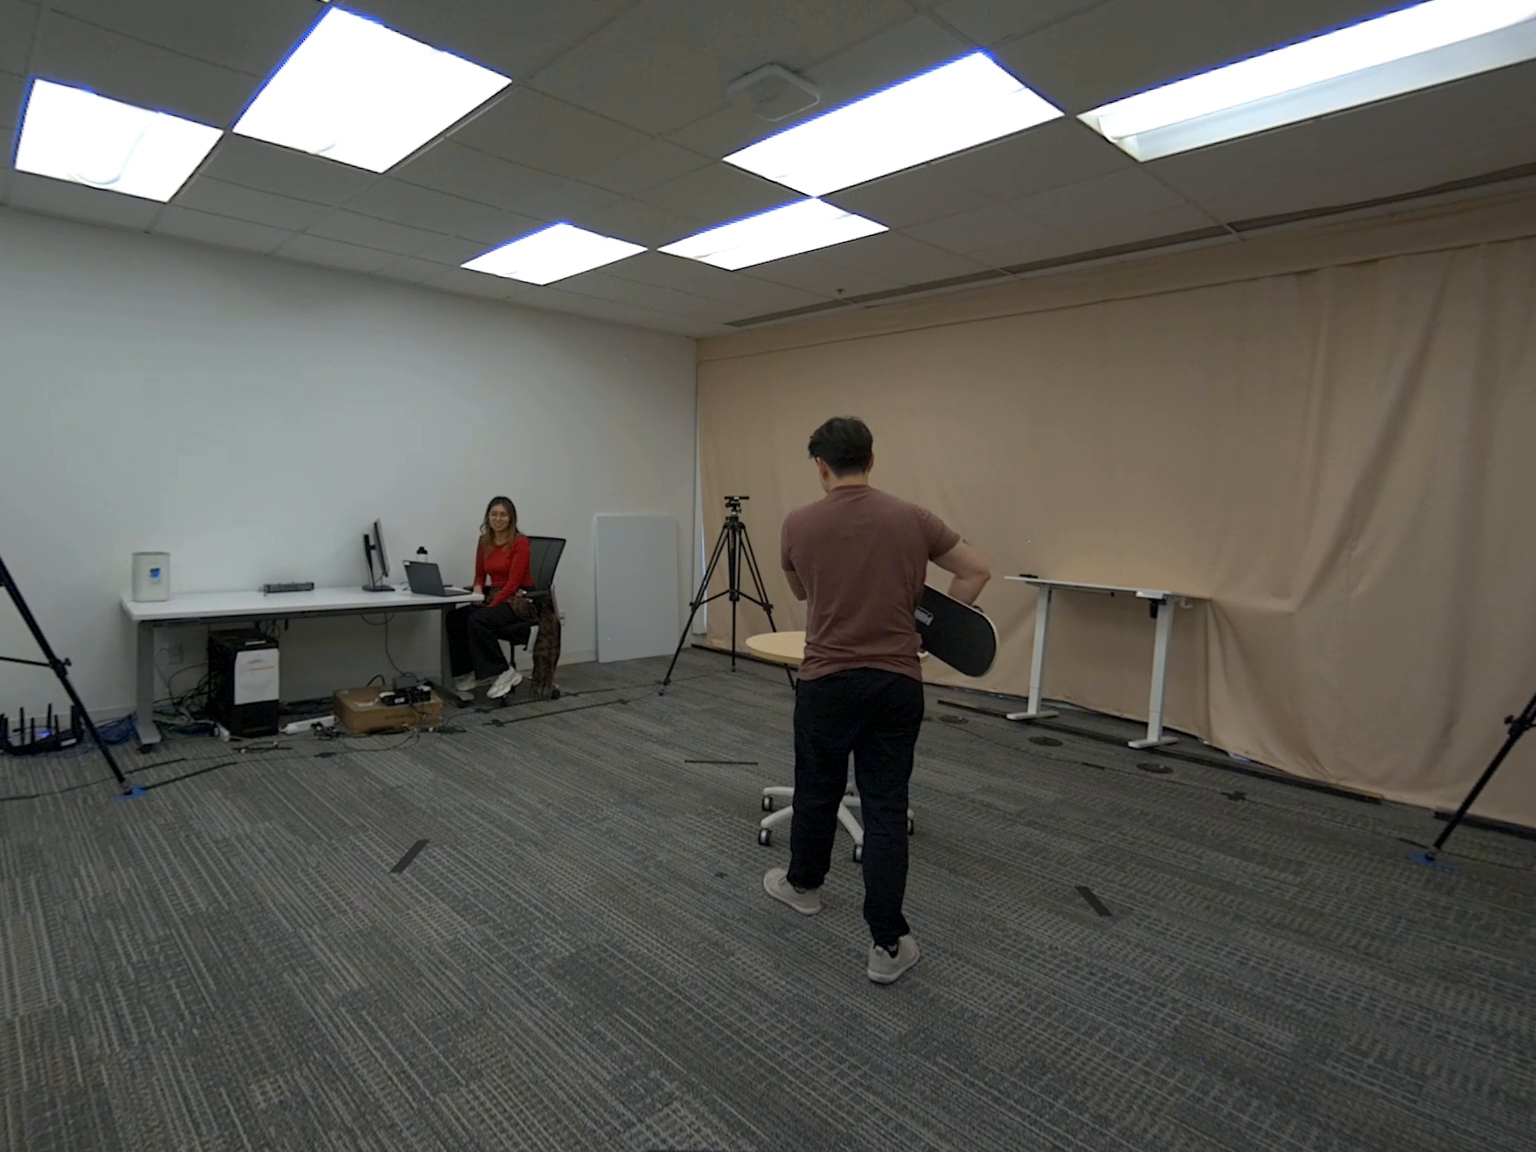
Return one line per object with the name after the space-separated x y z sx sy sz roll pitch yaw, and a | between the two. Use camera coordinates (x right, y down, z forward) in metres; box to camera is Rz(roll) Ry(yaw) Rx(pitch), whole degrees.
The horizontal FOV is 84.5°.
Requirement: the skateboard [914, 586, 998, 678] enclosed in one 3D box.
0.487 0.110 2.761 0.108 0.192 0.809 10 14 -32 | skateboard
